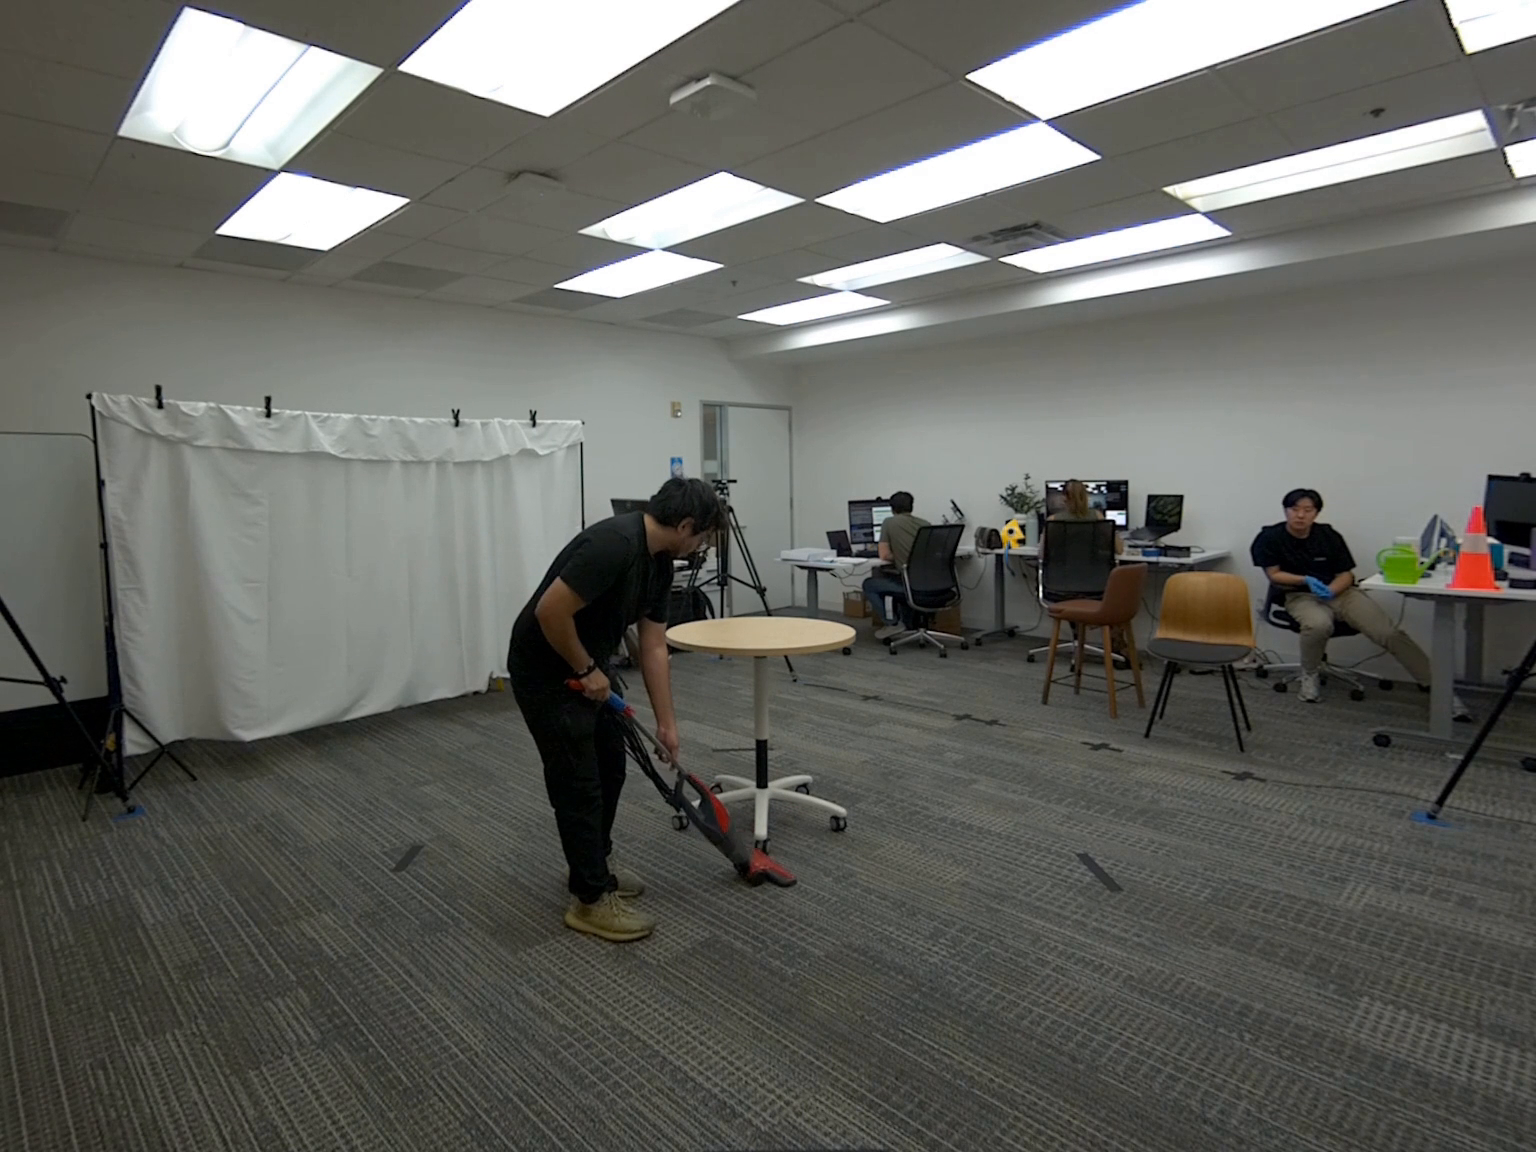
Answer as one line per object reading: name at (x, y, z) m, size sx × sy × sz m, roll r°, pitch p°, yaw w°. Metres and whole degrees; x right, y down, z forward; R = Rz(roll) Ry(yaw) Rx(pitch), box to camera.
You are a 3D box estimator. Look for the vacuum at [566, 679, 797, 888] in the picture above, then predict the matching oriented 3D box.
vacuum at (-0.289, 0.675, 2.804) m, size 0.144 × 1.017 × 0.260 m, roll -46°, pitch 28°, yaw -18°
